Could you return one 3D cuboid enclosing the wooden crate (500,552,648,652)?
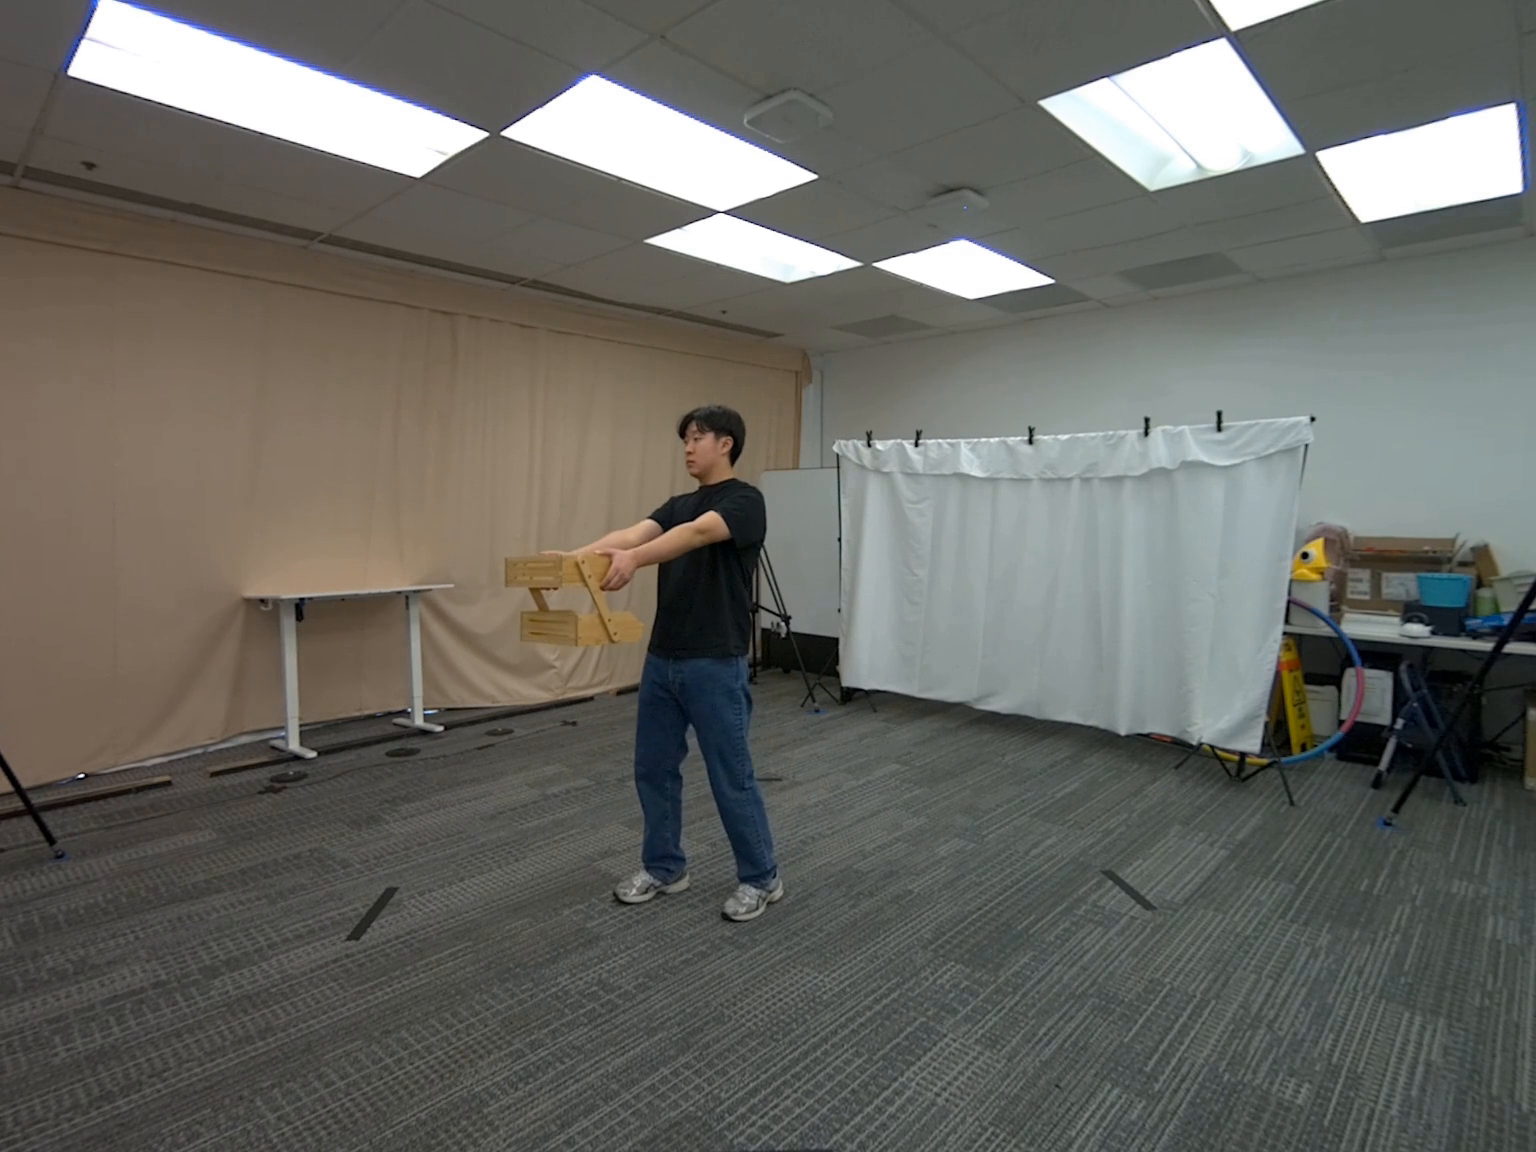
[{"bbox_3d":[-0.585,0.069,2.542,0.335,0.273,0.292,-1,-1,44],"label":"wooden crate"}]
